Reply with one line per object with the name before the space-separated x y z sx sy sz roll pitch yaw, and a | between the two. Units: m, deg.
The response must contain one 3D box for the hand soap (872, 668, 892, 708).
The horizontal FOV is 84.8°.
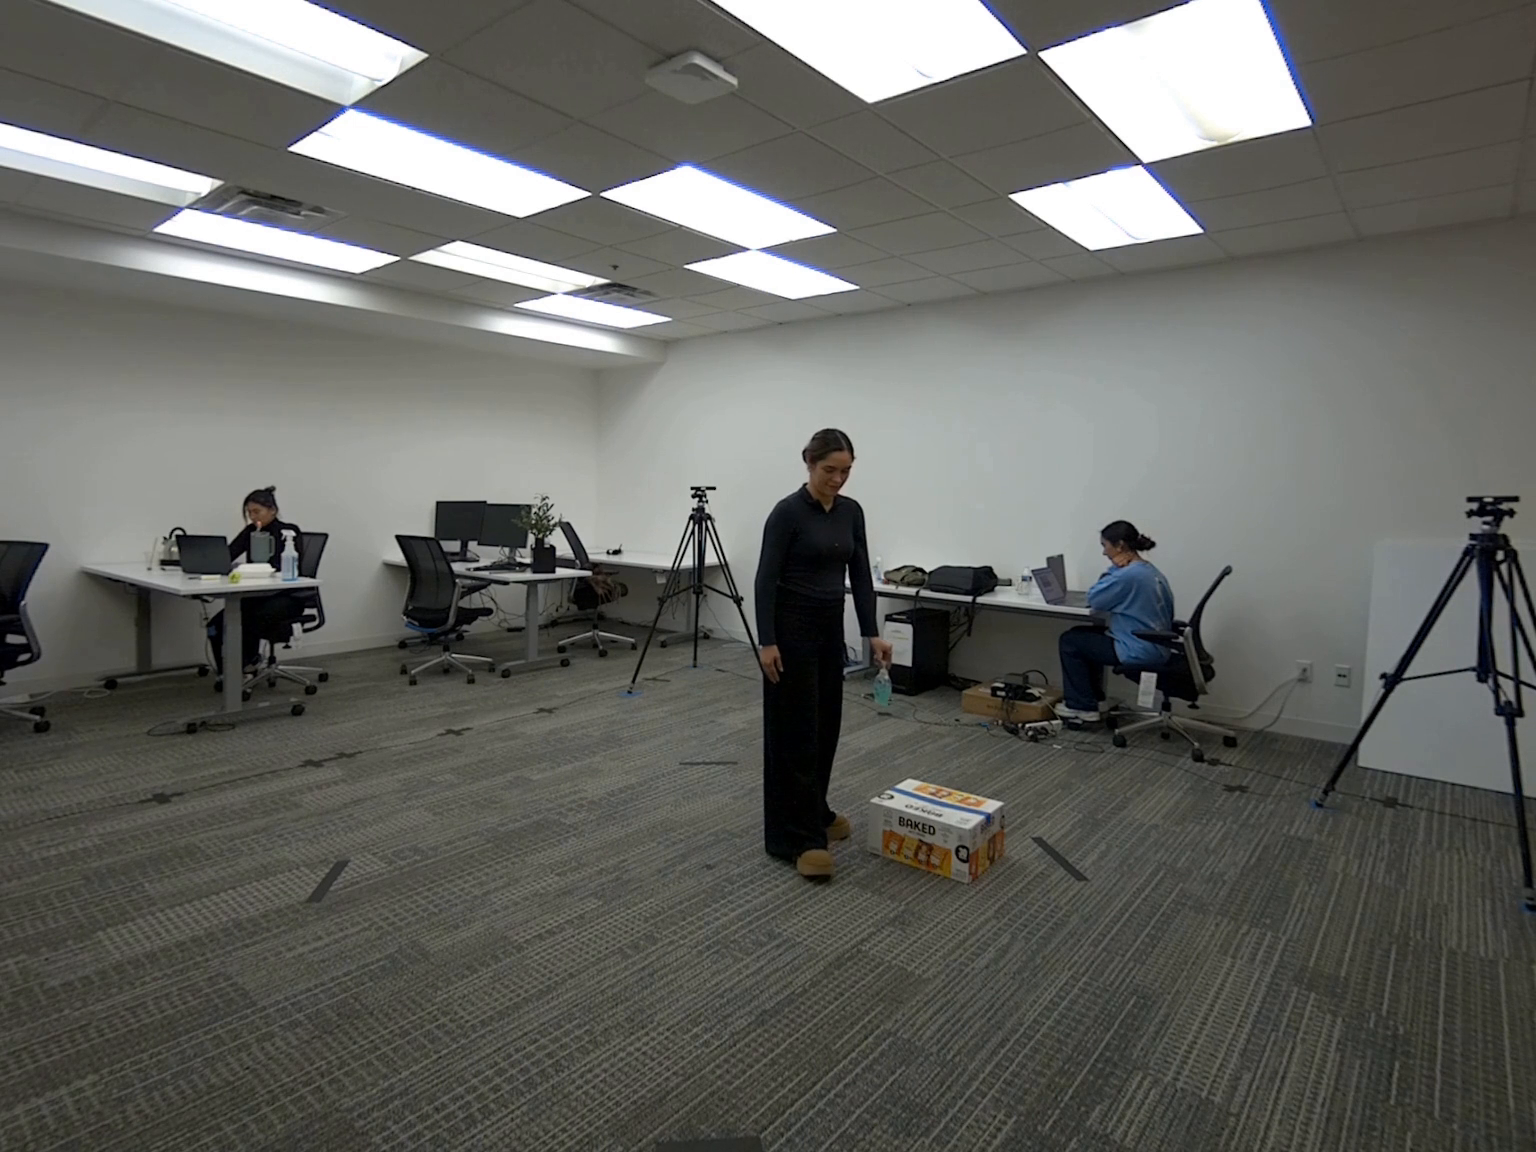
hand soap | 0.439 0.409 3.294 0.042 0.167 0.087 -3 12 -31
